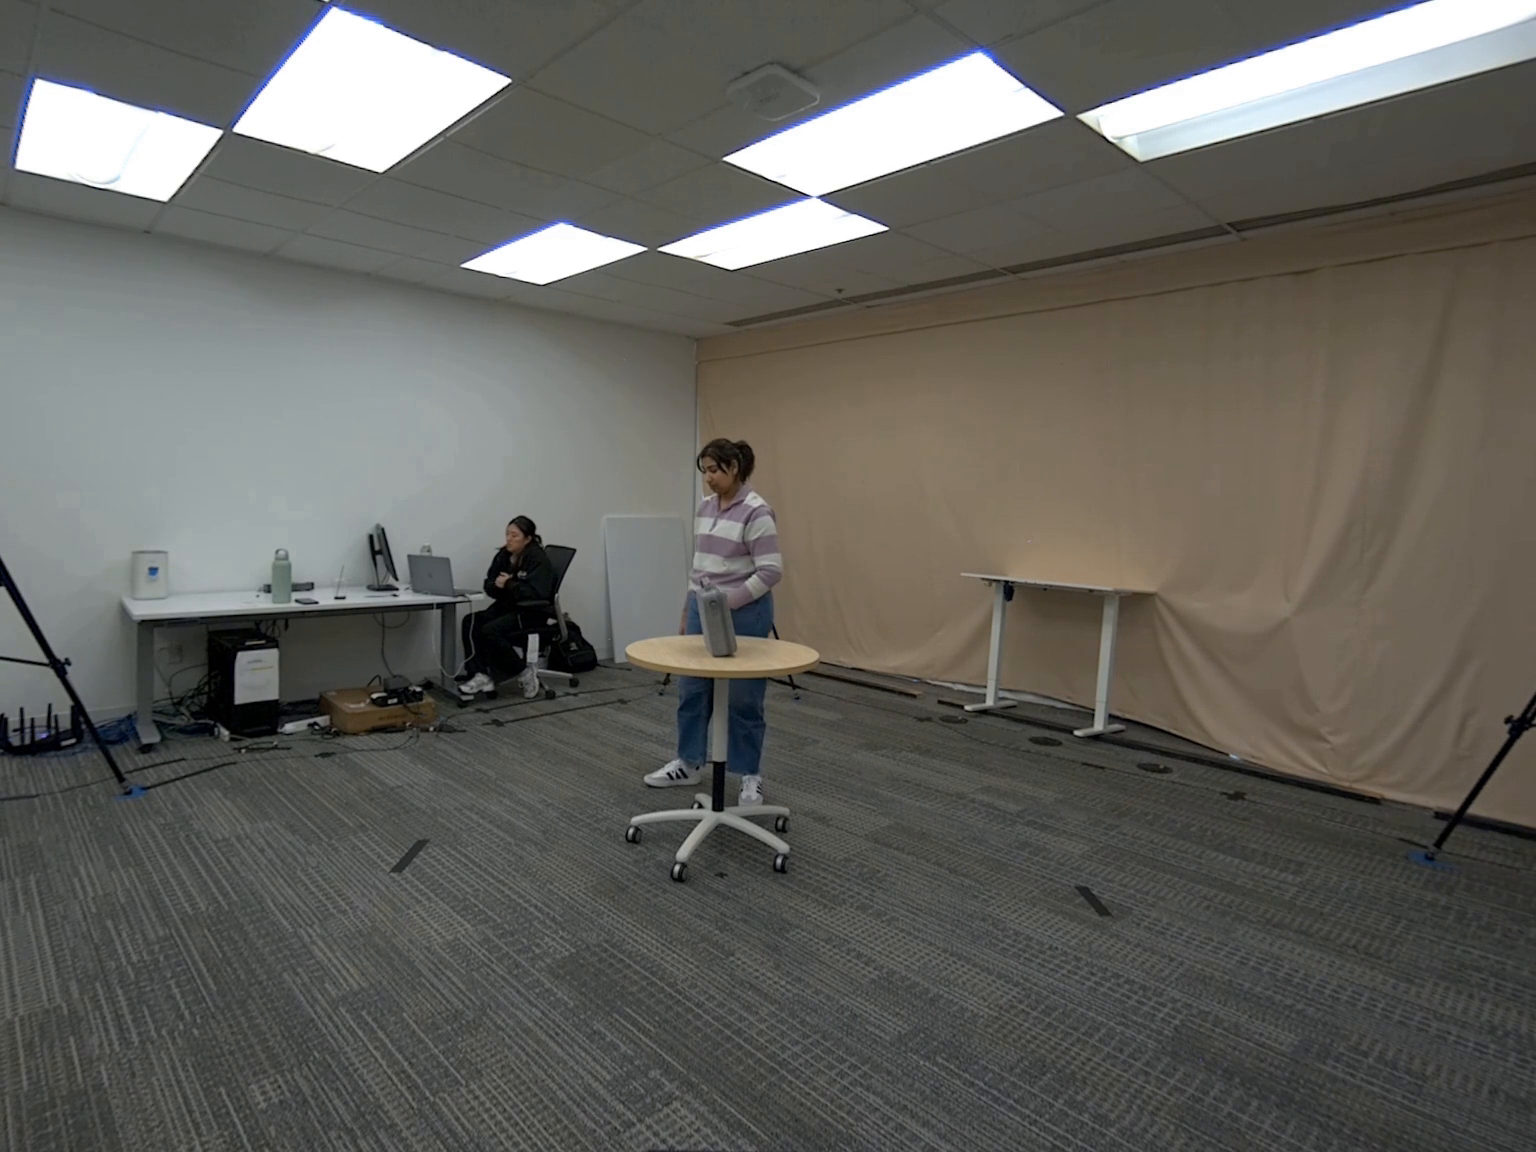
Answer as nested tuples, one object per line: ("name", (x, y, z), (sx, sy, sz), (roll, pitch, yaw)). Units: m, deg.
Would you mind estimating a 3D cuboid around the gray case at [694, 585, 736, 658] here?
("gray case", (-0.216, 0.171, 3.305), (0.104, 0.260, 0.259), (-9, 5, -7))
